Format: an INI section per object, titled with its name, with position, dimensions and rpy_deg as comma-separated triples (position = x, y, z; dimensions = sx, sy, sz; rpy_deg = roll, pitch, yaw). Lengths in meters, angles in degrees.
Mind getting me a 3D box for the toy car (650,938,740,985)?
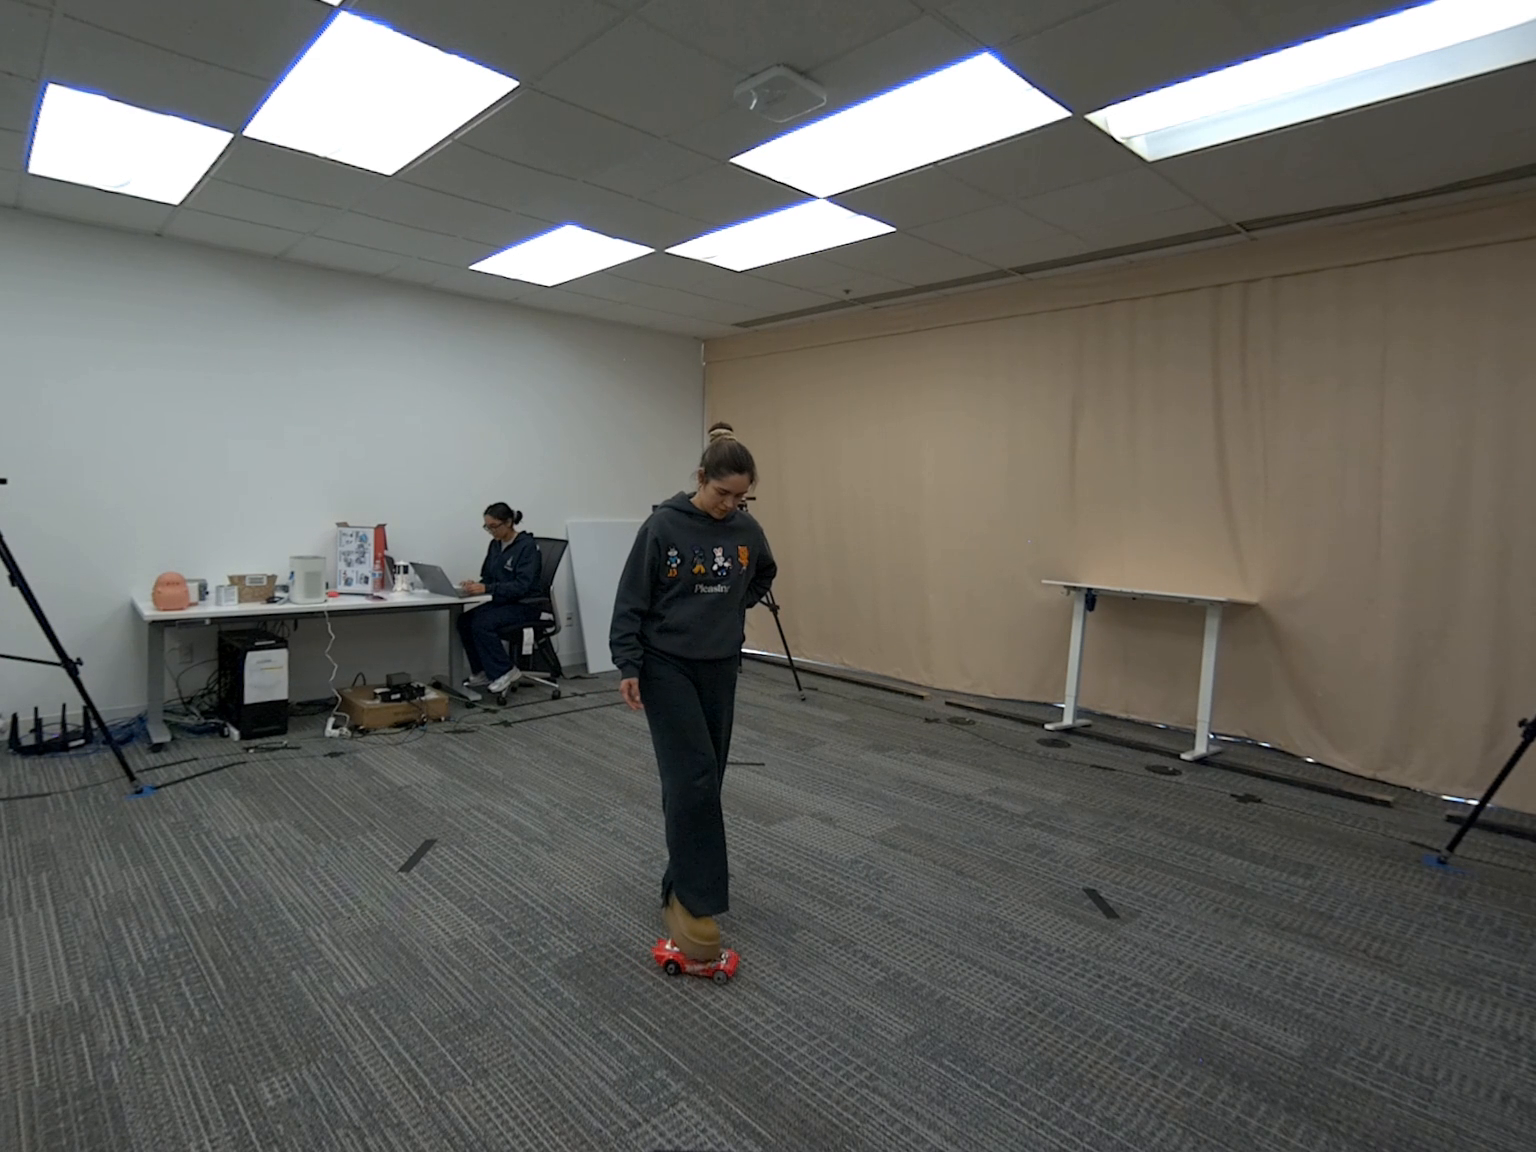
[toy car]
position = -0.222, 1.137, 2.485
dimensions = 0.257, 0.083, 0.129
rpy_deg = 13, 7, 12
